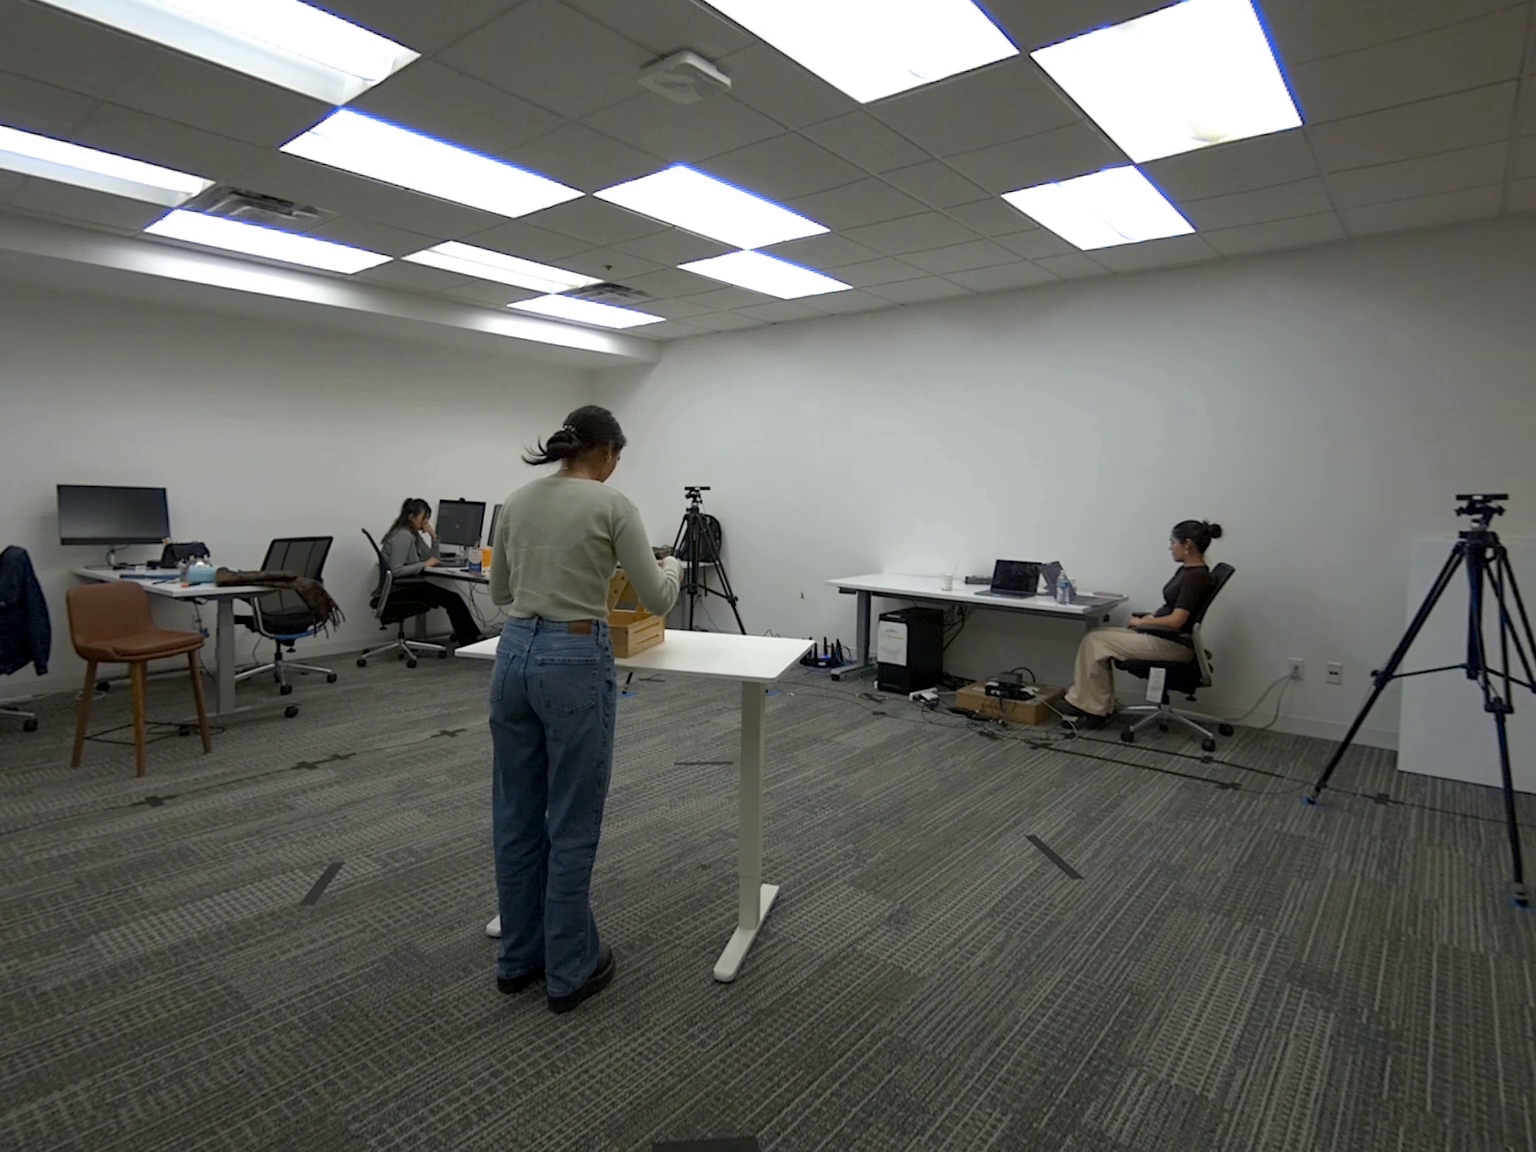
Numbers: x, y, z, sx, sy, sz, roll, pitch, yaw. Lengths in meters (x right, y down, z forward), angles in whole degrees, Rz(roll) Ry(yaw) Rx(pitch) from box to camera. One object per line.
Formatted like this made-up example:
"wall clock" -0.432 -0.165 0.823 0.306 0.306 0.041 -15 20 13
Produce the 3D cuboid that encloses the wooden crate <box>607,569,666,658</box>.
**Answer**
"wooden crate" -0.482 0.087 2.687 0.307 0.272 0.320 2 5 15
